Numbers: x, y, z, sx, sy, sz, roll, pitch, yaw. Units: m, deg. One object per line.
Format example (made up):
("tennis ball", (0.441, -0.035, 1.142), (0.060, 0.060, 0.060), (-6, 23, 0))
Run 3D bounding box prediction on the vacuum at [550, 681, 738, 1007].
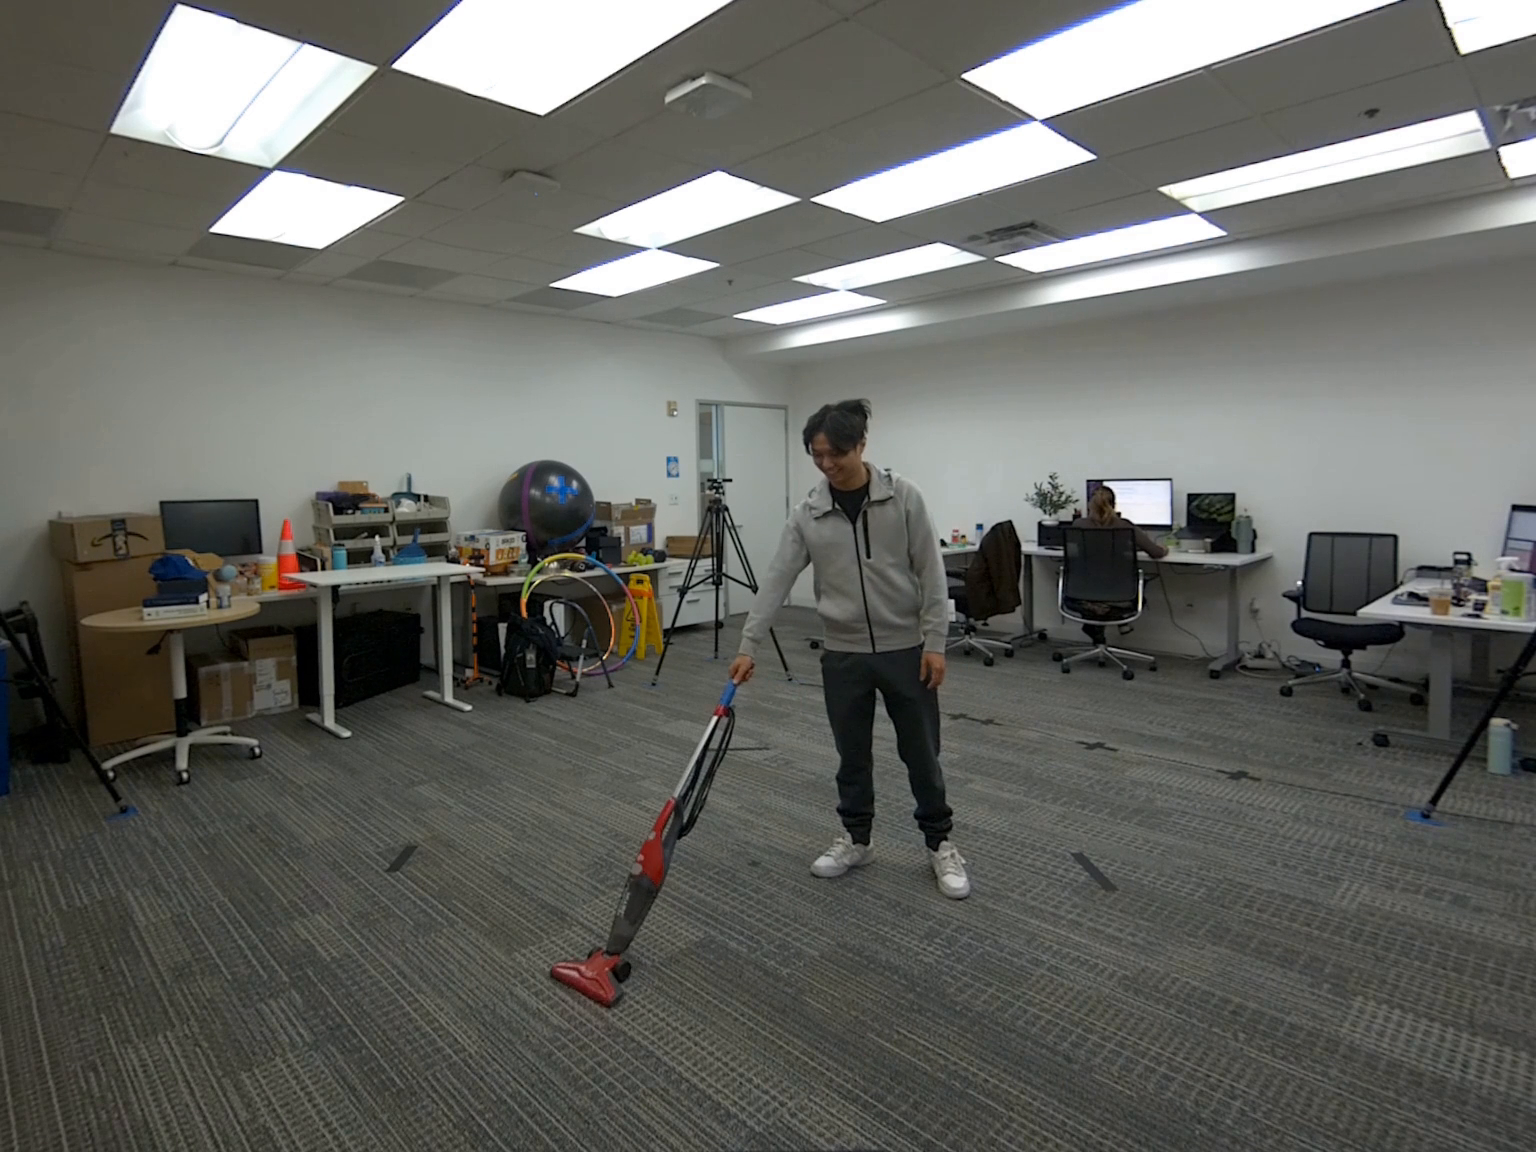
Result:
("vacuum", (-0.260, 0.732, 2.667), (0.260, 1.057, 0.139), (5, -38, 35))
